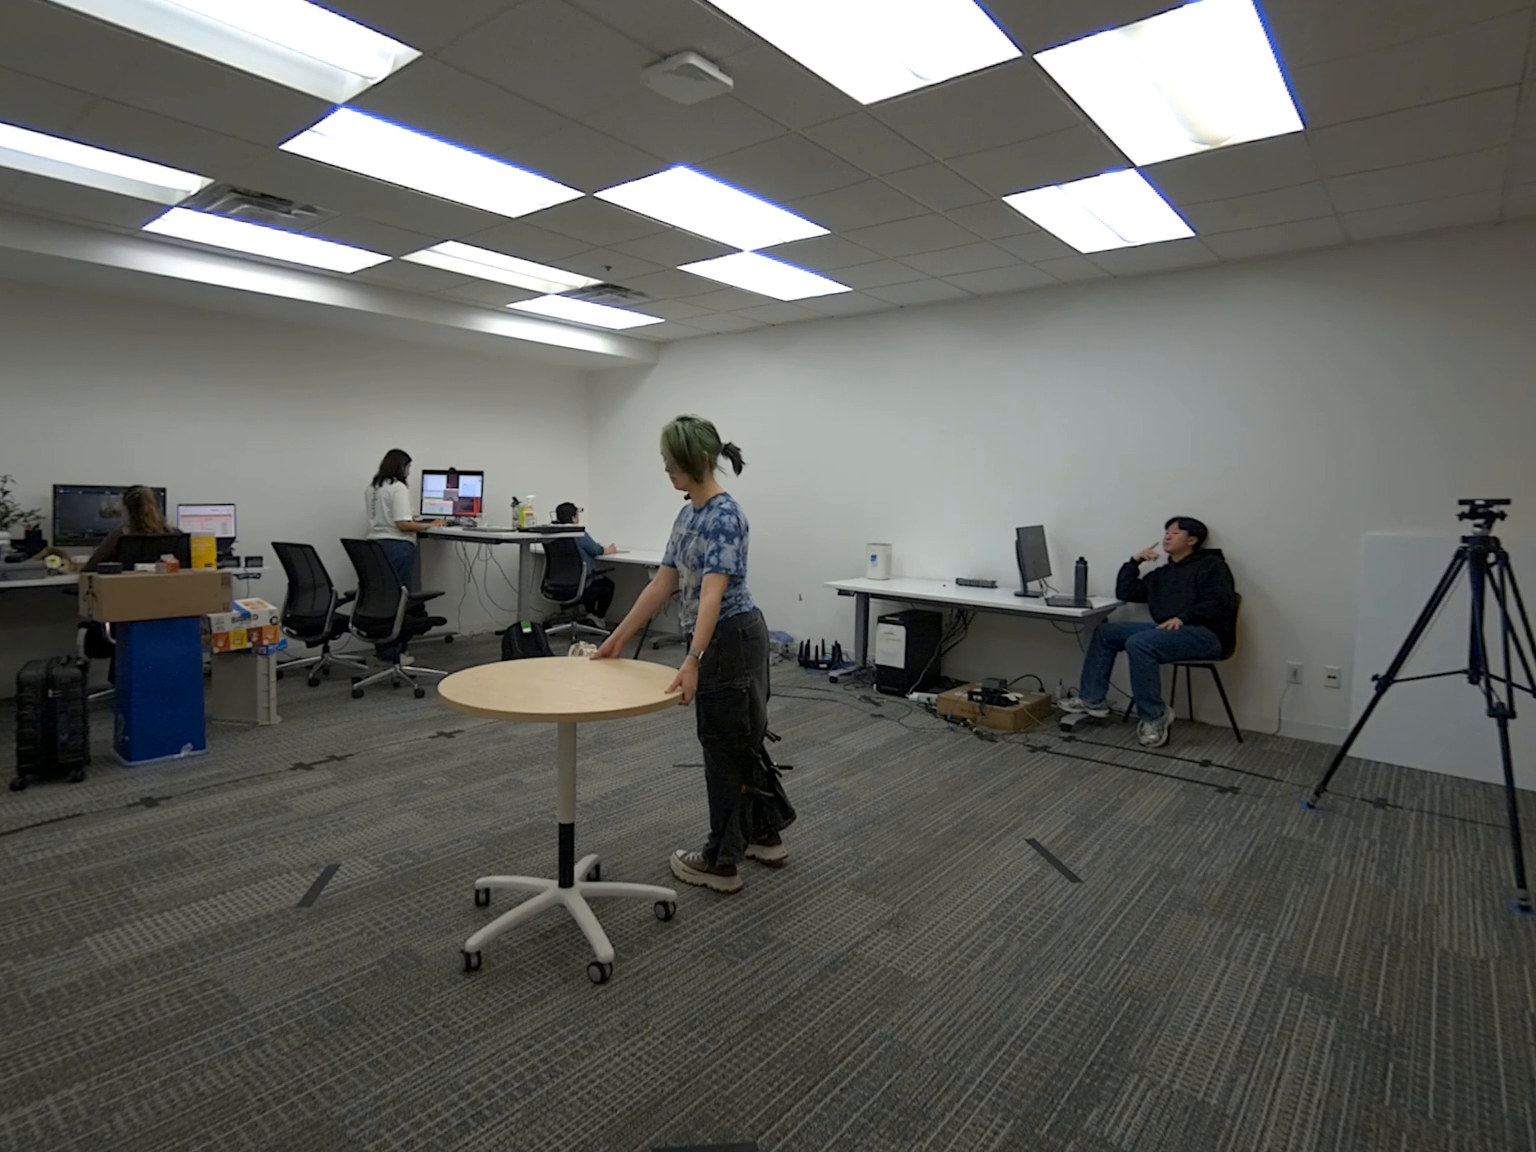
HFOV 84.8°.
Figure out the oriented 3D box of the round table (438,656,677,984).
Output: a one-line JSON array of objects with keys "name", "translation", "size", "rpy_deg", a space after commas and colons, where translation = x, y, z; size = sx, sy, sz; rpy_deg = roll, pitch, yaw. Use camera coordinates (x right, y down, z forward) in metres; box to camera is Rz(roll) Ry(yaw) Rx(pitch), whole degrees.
[{"name": "round table", "translation": [-0.639, 0.717, 2.655], "size": [0.763, 0.791, 0.768], "rpy_deg": [1, 5, -2]}]
